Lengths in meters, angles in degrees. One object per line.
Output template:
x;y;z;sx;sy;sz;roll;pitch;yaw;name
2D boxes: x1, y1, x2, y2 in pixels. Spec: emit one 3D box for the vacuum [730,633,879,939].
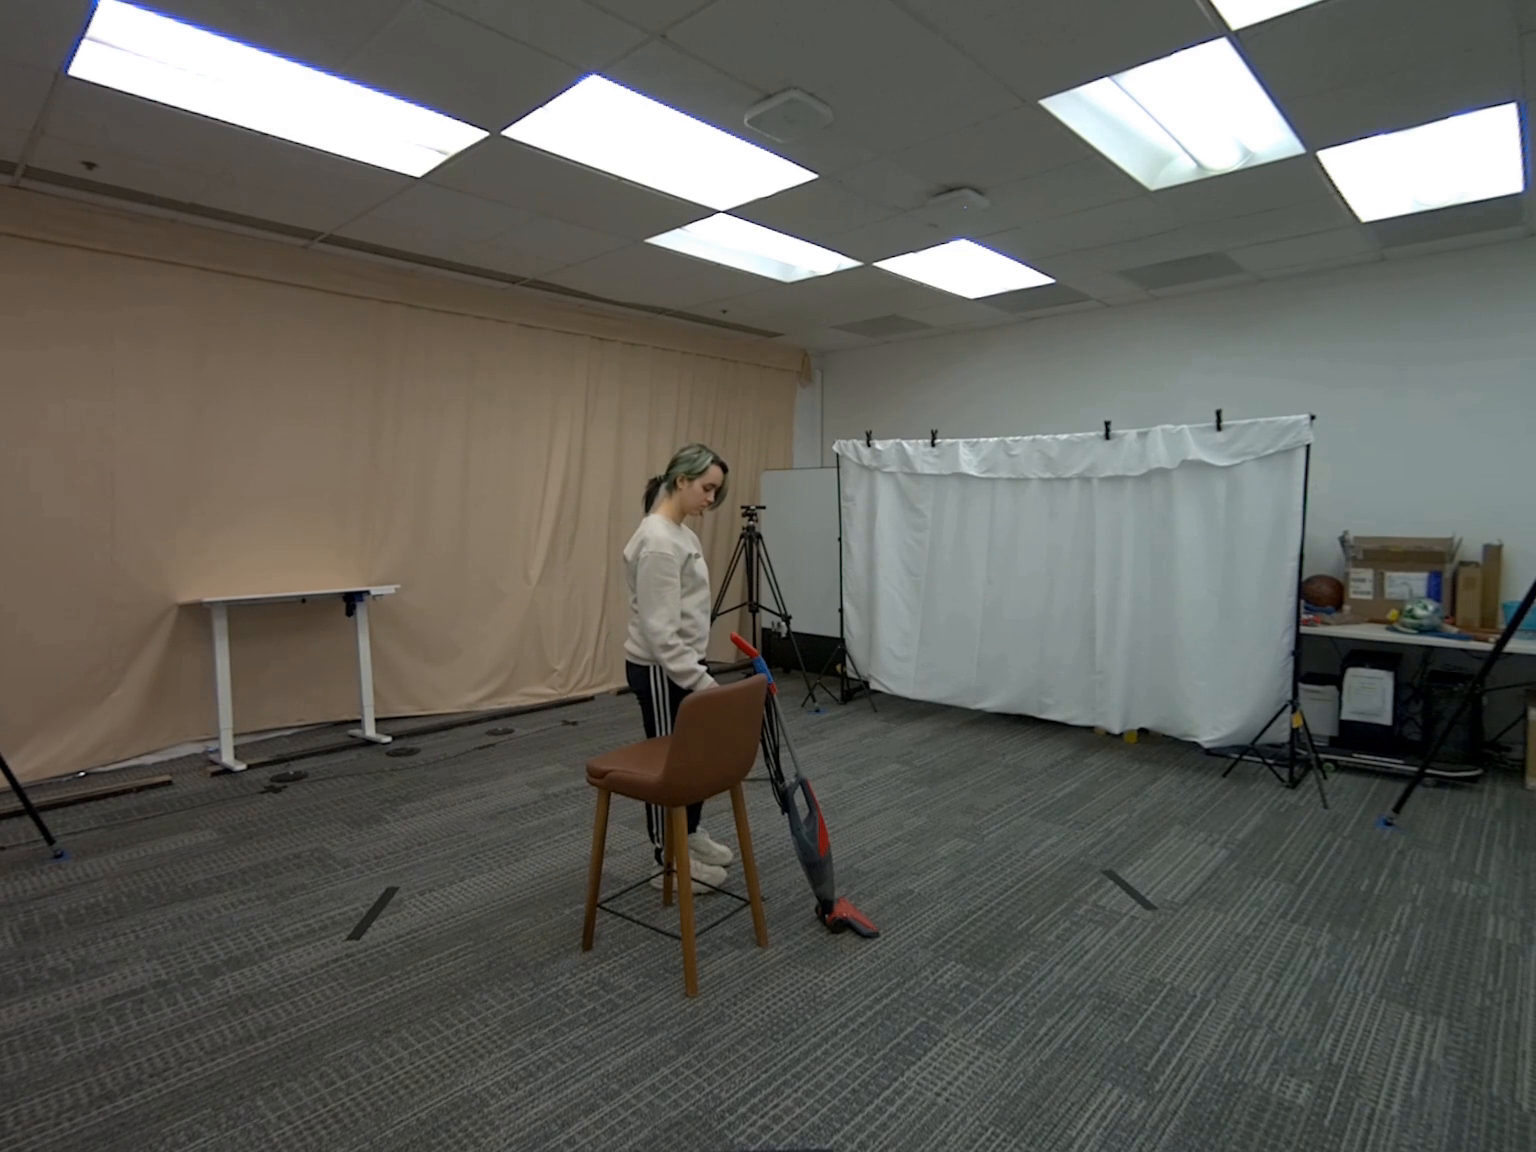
0.088;0.671;2.736;0.142;1.040;0.258;-22;10;-18;vacuum
